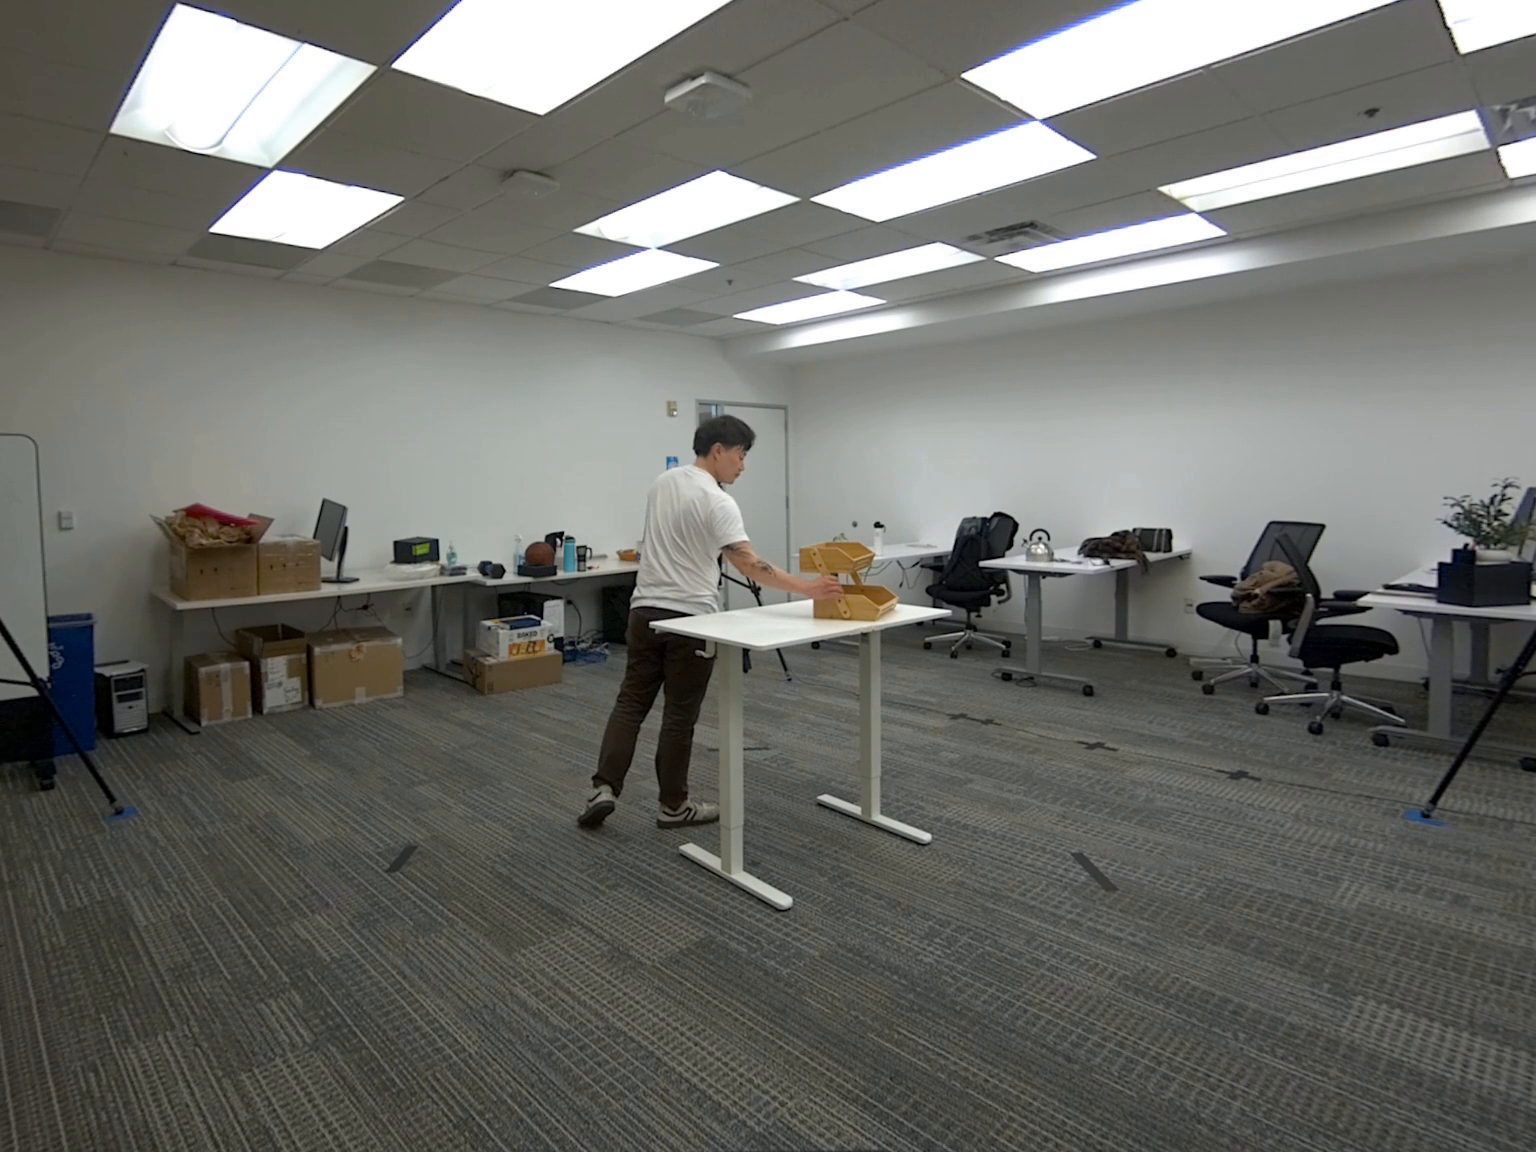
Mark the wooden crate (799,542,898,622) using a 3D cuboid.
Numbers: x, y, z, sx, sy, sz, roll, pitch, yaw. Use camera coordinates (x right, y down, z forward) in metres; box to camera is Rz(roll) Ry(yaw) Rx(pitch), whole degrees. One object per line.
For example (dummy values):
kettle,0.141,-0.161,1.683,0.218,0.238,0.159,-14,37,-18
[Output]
wooden crate,0.317,0.009,3.230,0.308,0.272,0.319,0,5,23
